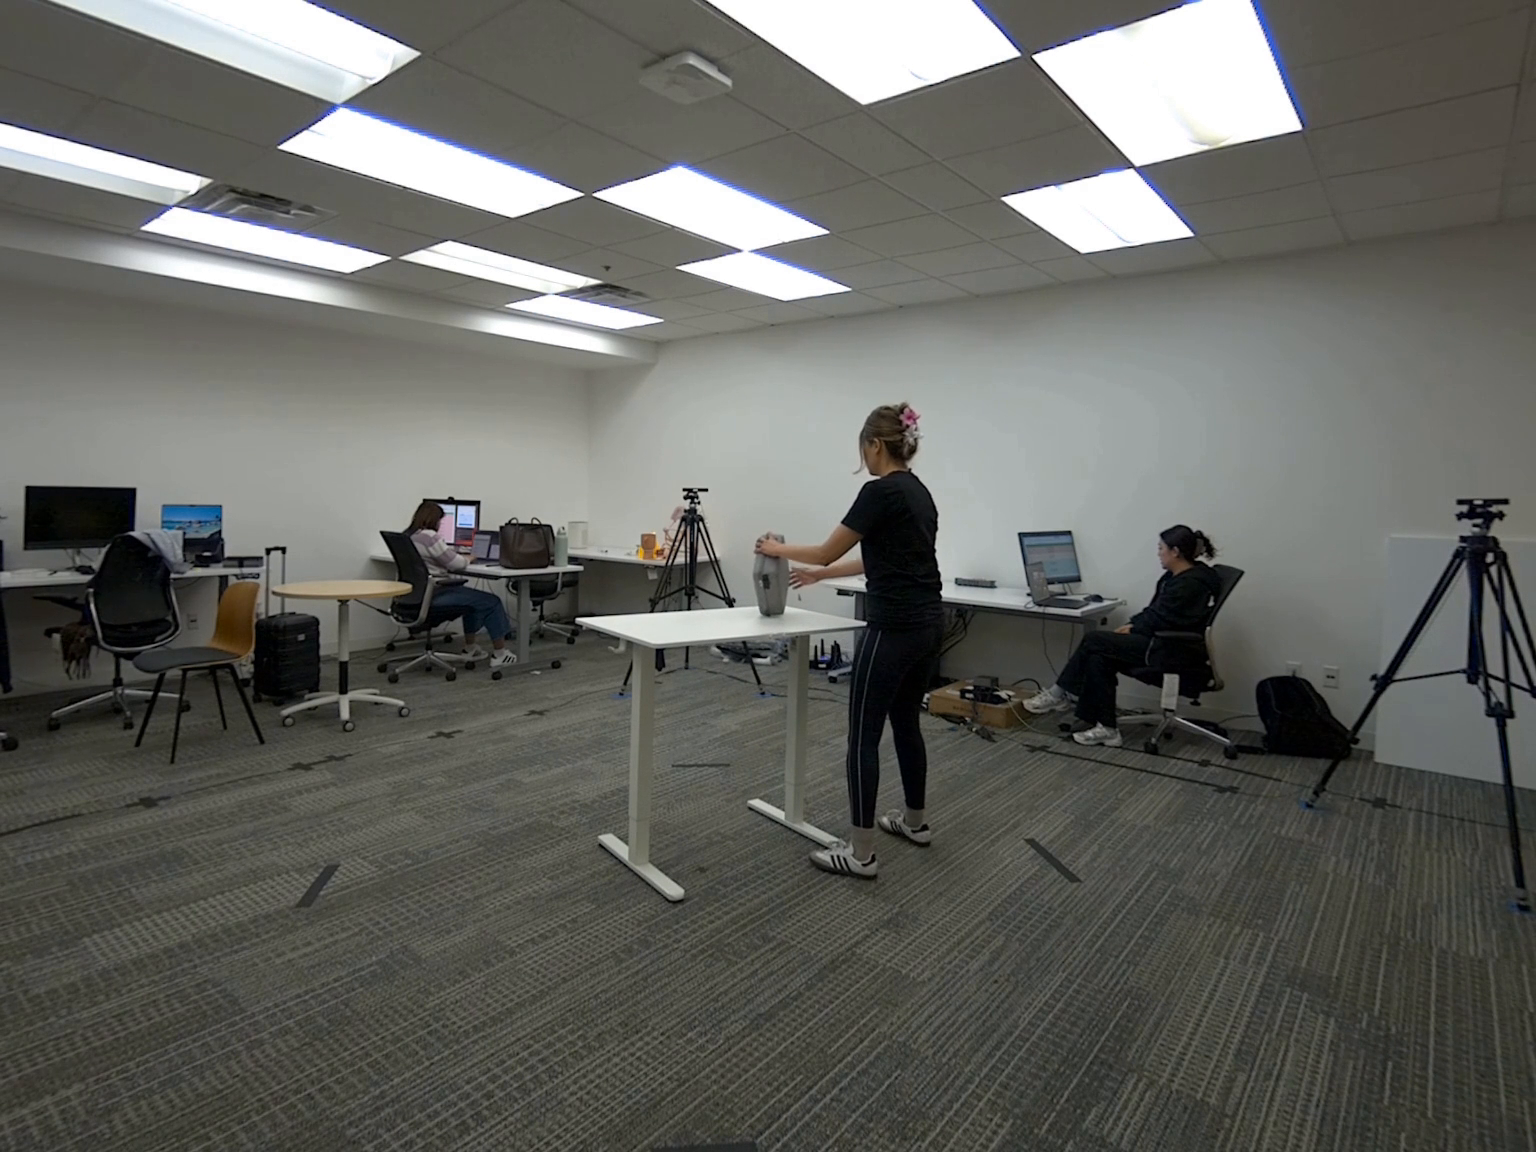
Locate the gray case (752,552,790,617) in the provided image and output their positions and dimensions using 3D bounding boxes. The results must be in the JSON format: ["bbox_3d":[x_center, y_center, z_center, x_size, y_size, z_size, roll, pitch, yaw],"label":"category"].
[{"bbox_3d":[0.008,-0.004,3.468,0.106,0.248,0.265,1,44,13],"label":"gray case"}]
